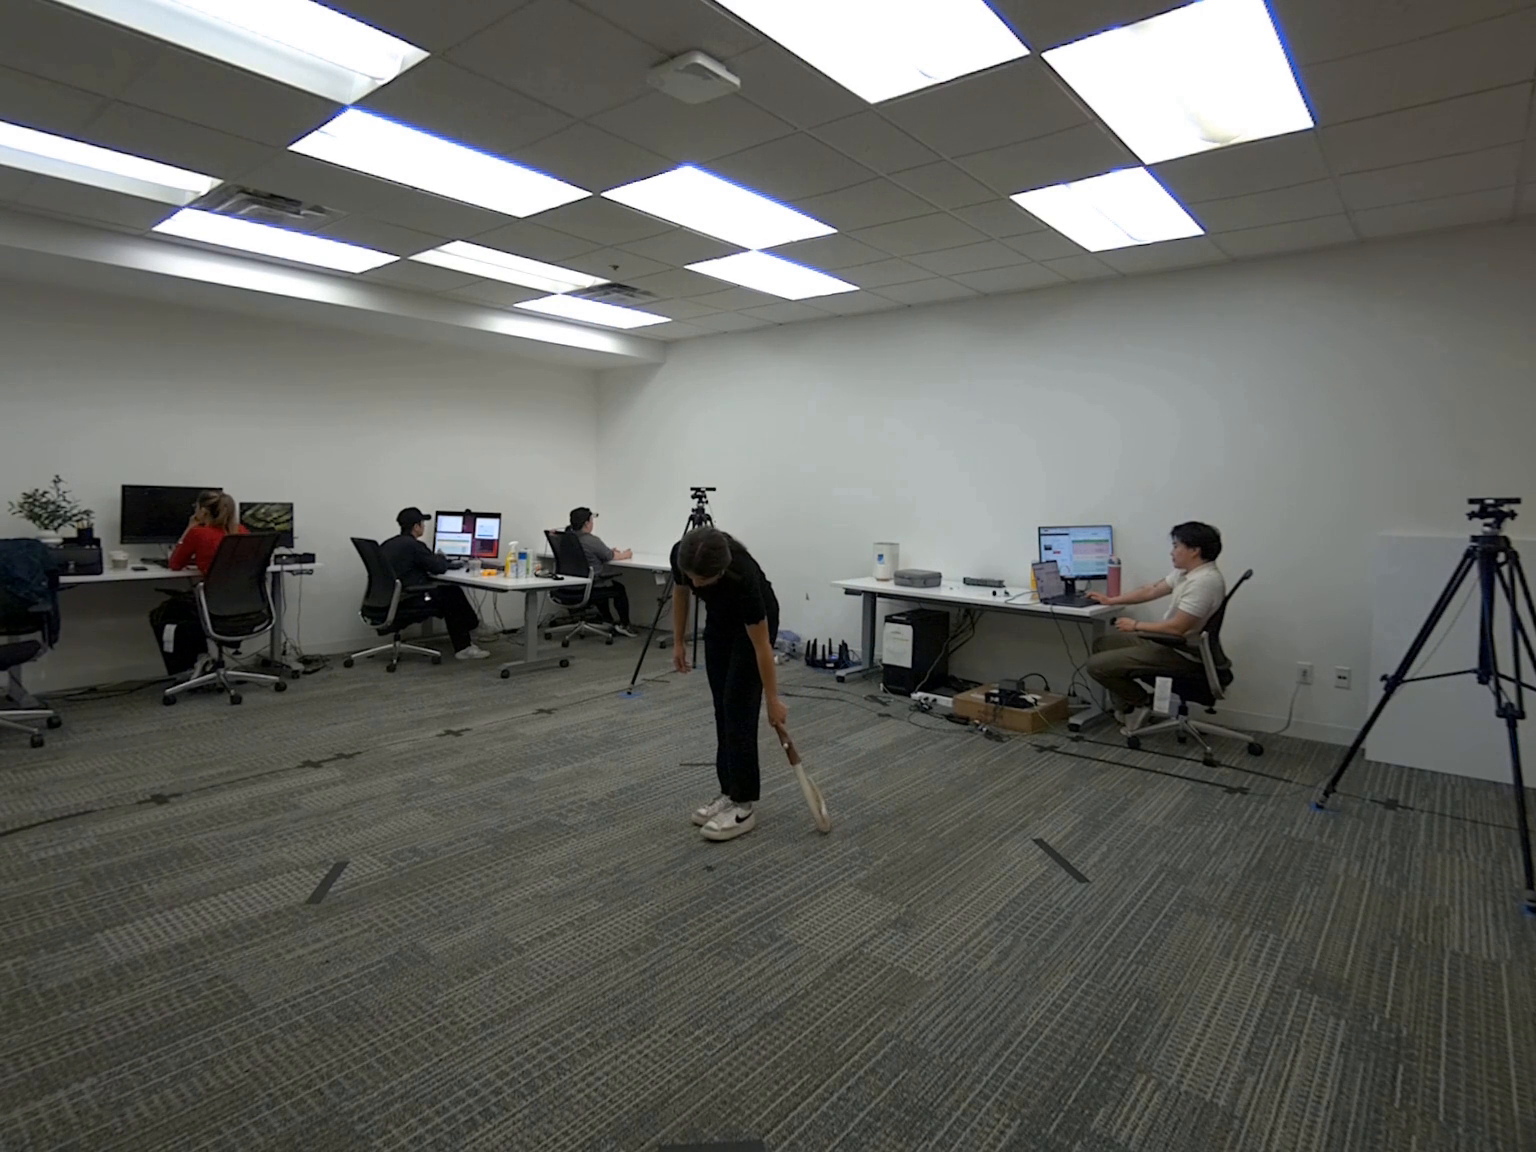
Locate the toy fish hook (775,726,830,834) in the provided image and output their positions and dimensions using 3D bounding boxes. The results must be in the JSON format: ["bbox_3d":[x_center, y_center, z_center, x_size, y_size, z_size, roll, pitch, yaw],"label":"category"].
[{"bbox_3d":[0.134,0.811,3.514,0.048,0.507,0.223,-24,0,6],"label":"toy fish hook"}]
